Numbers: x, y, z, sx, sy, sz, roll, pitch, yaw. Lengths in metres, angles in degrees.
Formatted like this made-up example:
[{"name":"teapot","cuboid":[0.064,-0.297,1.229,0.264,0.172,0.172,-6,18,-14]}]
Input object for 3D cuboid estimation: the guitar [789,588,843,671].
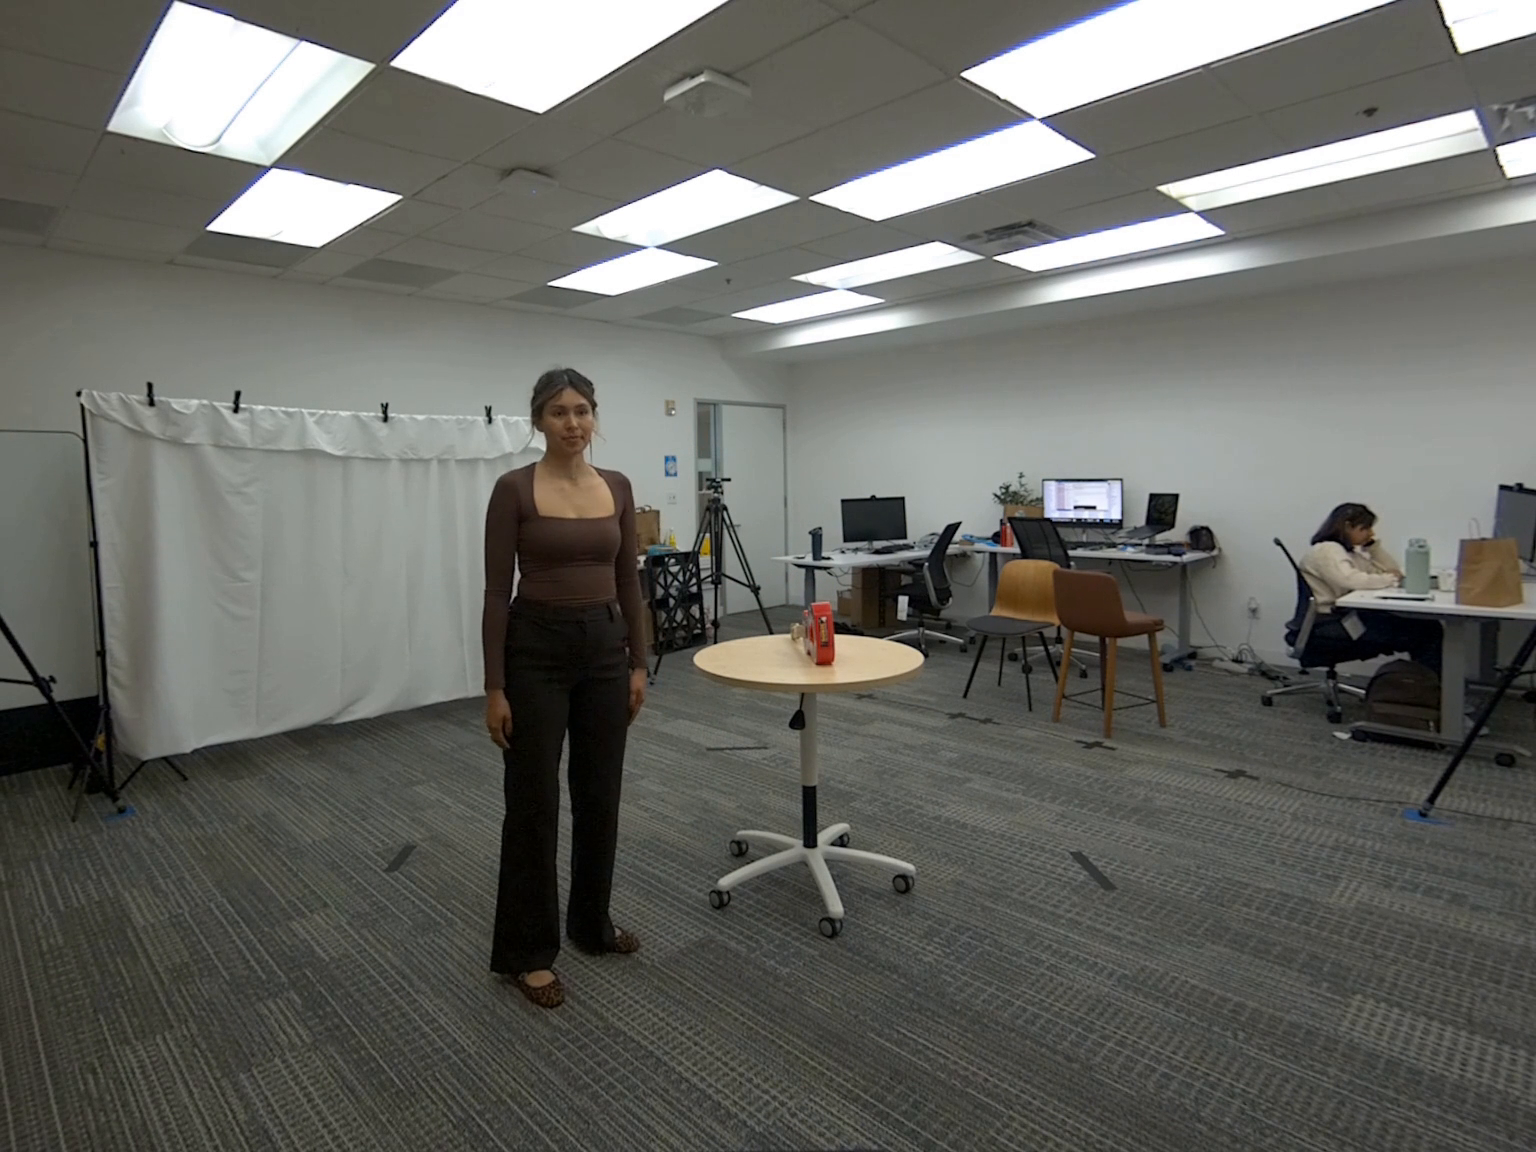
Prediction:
[{"name":"guitar","cuboid":[0.155,0.170,2.938,0.070,0.192,0.503,-5,6,-7]}]
